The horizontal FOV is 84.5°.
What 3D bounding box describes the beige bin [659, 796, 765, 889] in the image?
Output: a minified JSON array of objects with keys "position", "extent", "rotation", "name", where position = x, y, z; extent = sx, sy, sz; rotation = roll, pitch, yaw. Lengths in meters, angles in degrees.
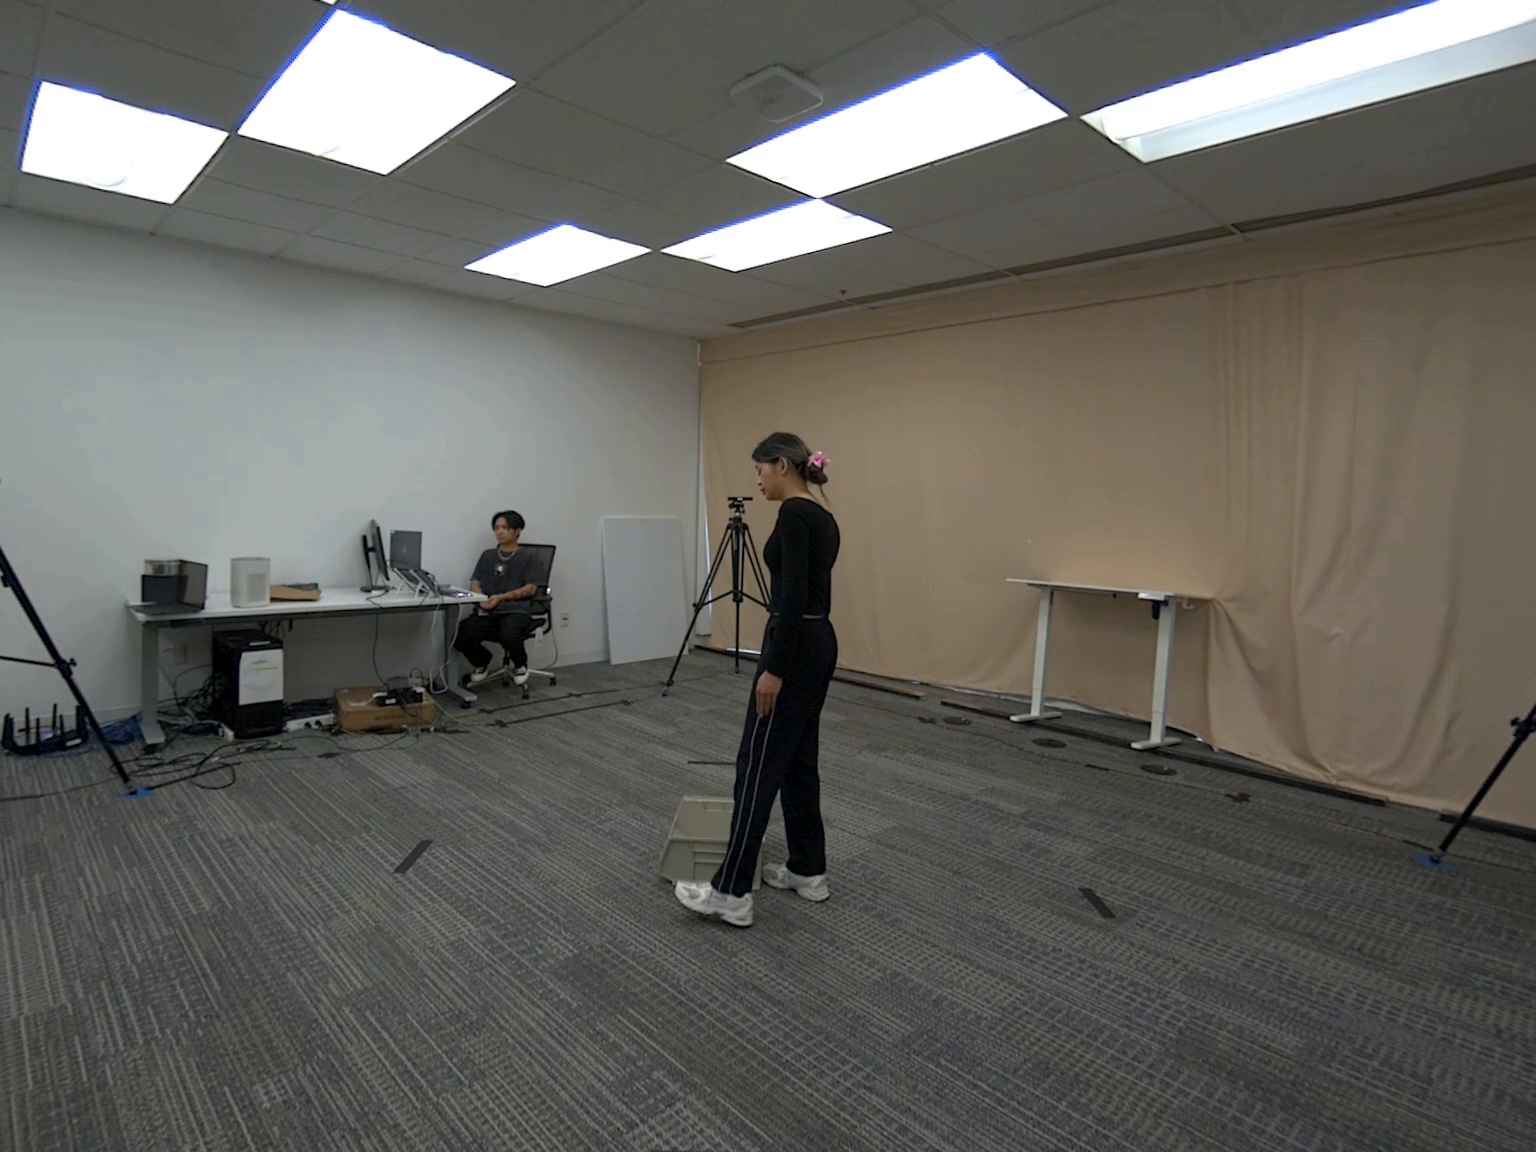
[{"position":[-0.209,1.013,3.213],"extent":[0.378,0.188,0.423],"rotation":[2,4,1],"name":"beige bin"}]
